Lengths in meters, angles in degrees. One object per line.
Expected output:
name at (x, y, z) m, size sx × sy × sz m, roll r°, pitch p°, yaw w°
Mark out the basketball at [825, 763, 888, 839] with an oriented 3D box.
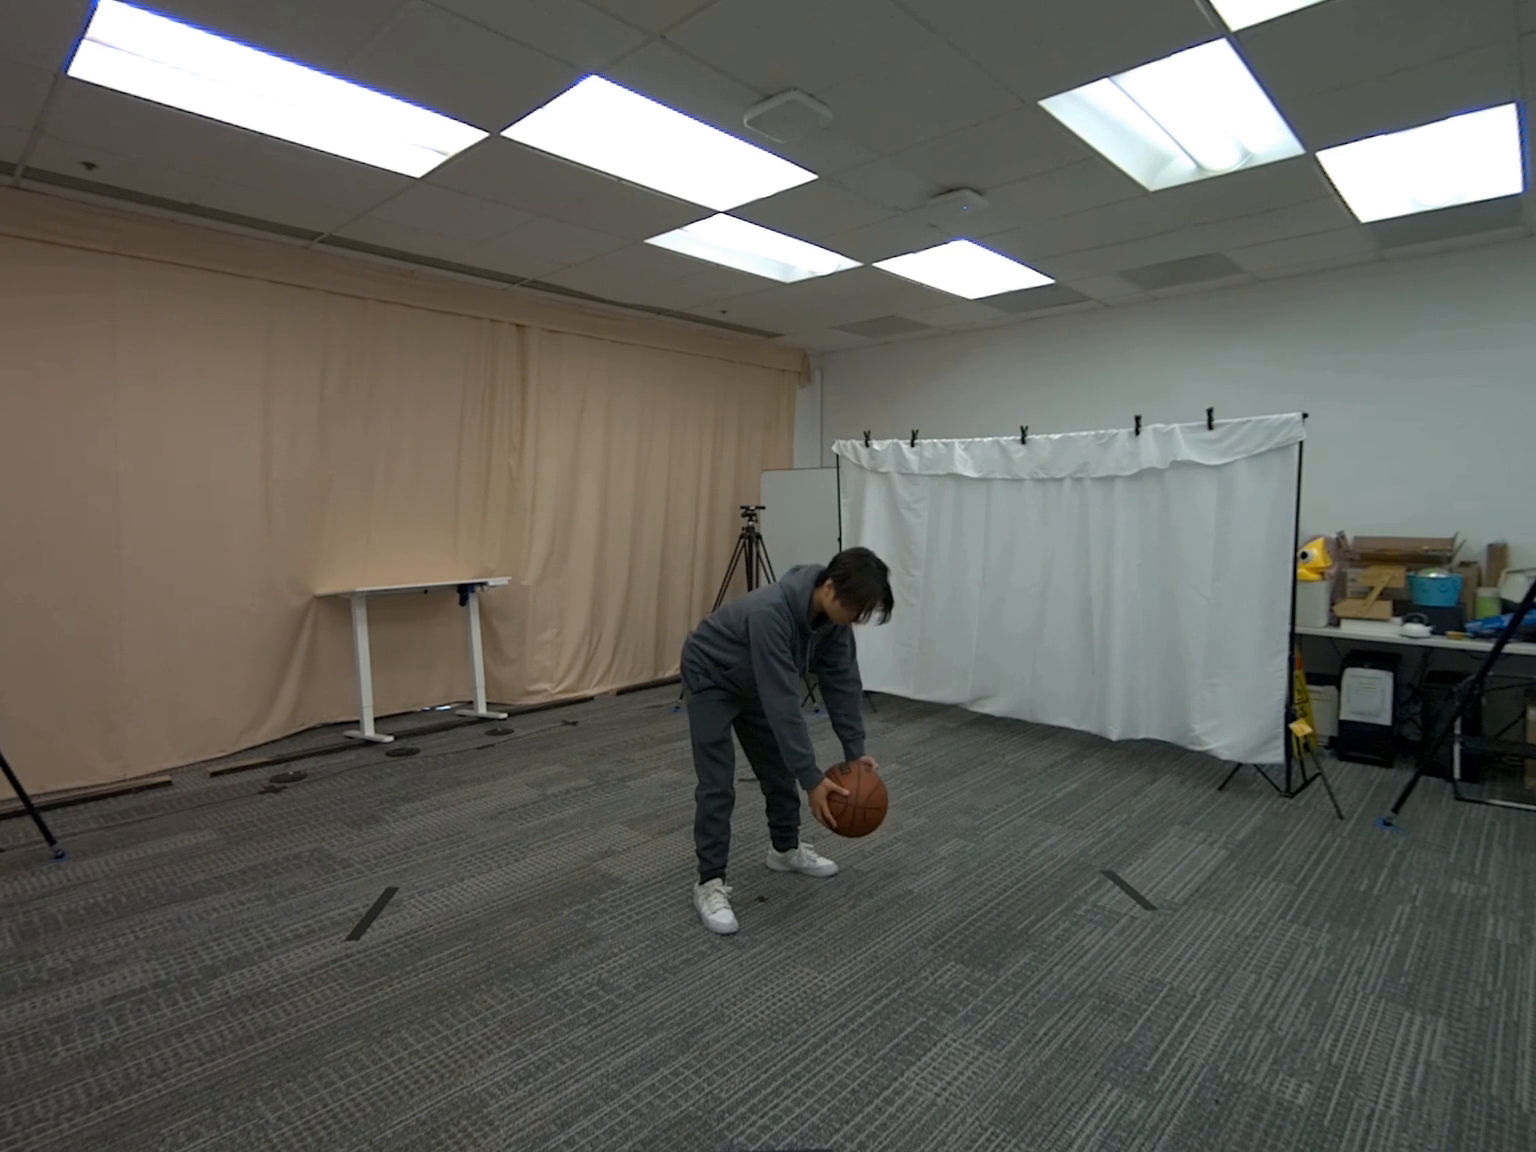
basketball at (0.274, 0.726, 2.743) m, size 0.236 × 0.235 × 0.237 m, roll 0°, pitch 4°, yaw -2°
